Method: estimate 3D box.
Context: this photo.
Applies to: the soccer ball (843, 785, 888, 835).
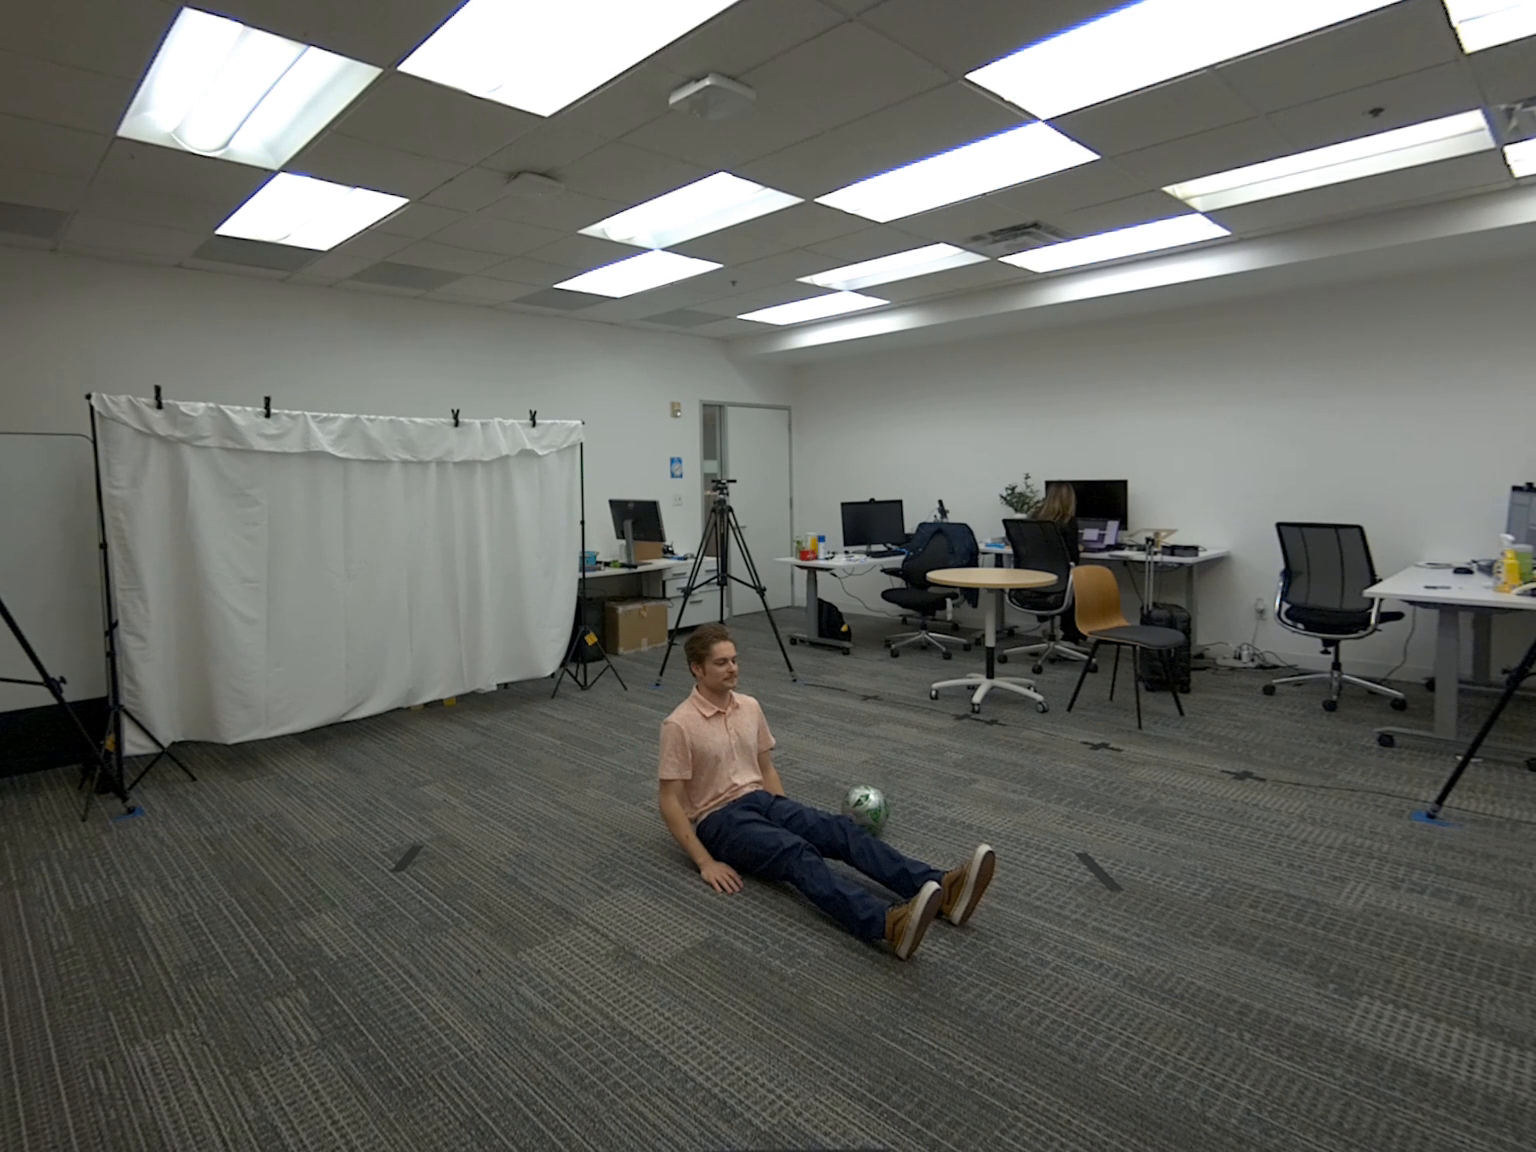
[{"bbox_3d":[0.370,0.910,3.349,0.187,0.187,0.188,-1,5,-2],"label":"soccer ball"}]
